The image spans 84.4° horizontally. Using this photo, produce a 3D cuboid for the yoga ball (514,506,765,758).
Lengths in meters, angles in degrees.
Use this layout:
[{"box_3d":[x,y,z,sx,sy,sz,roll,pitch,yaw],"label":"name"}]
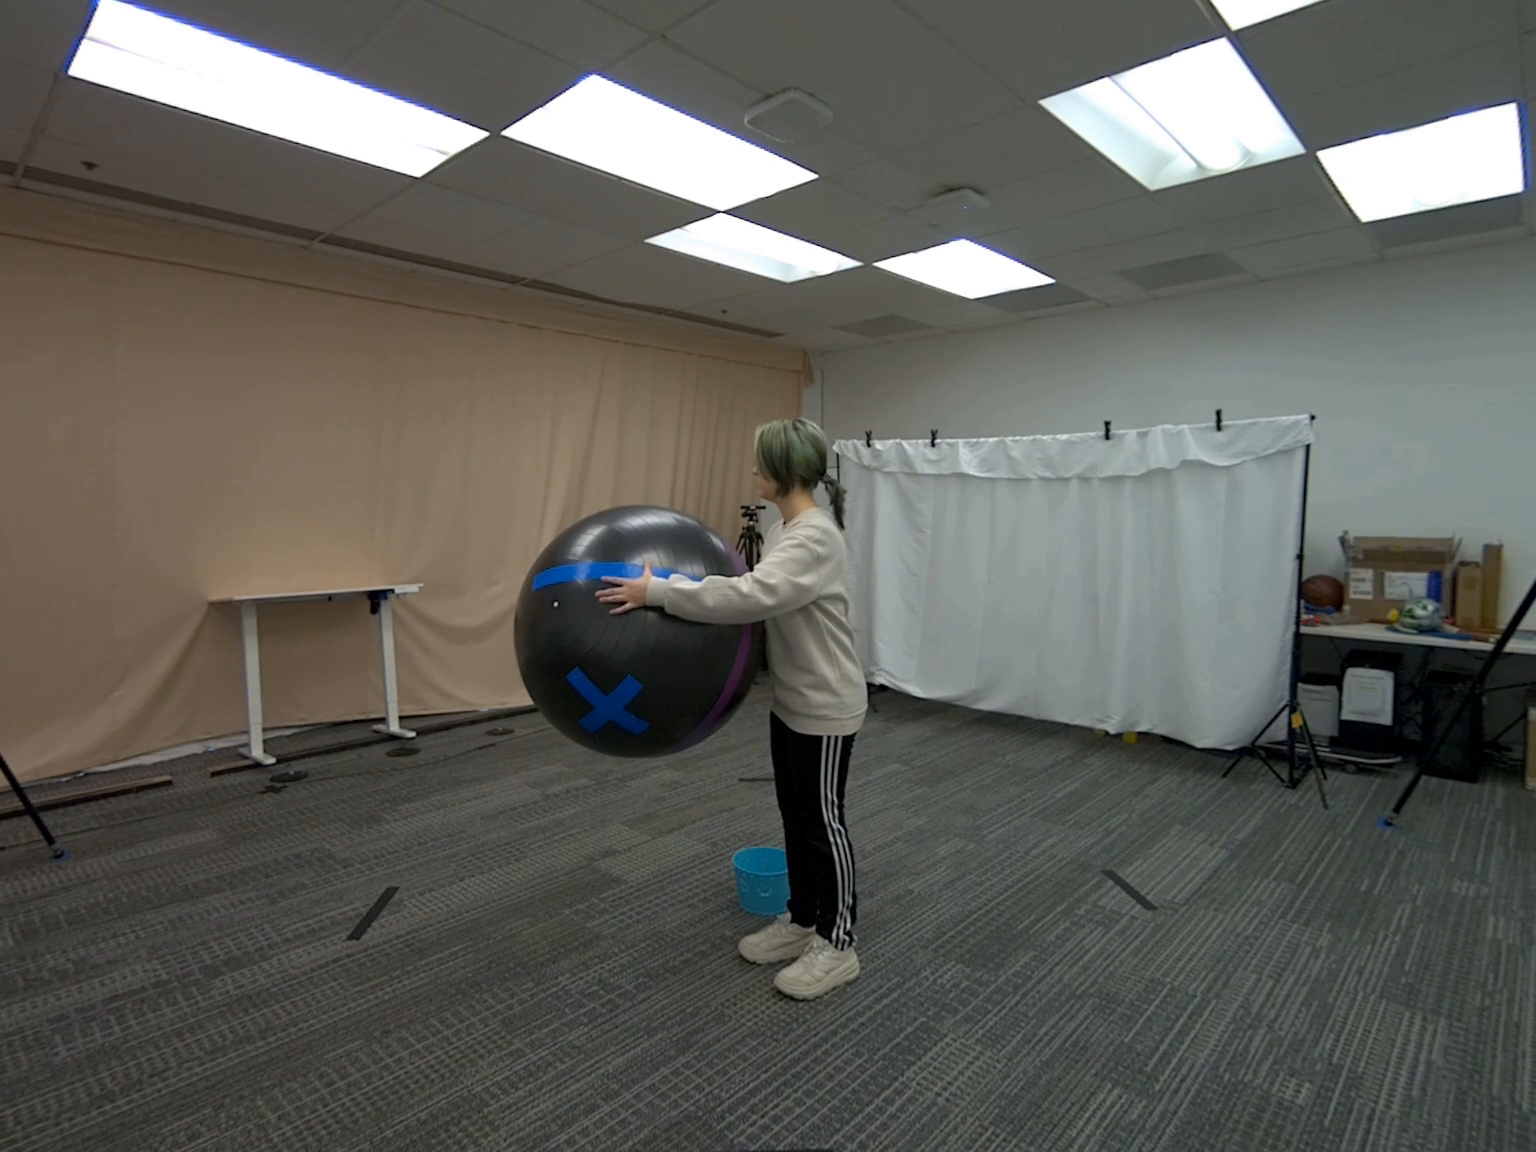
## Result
[{"box_3d":[-0.388,0.174,2.559,0.757,0.756,0.760,0,4,-2],"label":"yoga ball"}]
